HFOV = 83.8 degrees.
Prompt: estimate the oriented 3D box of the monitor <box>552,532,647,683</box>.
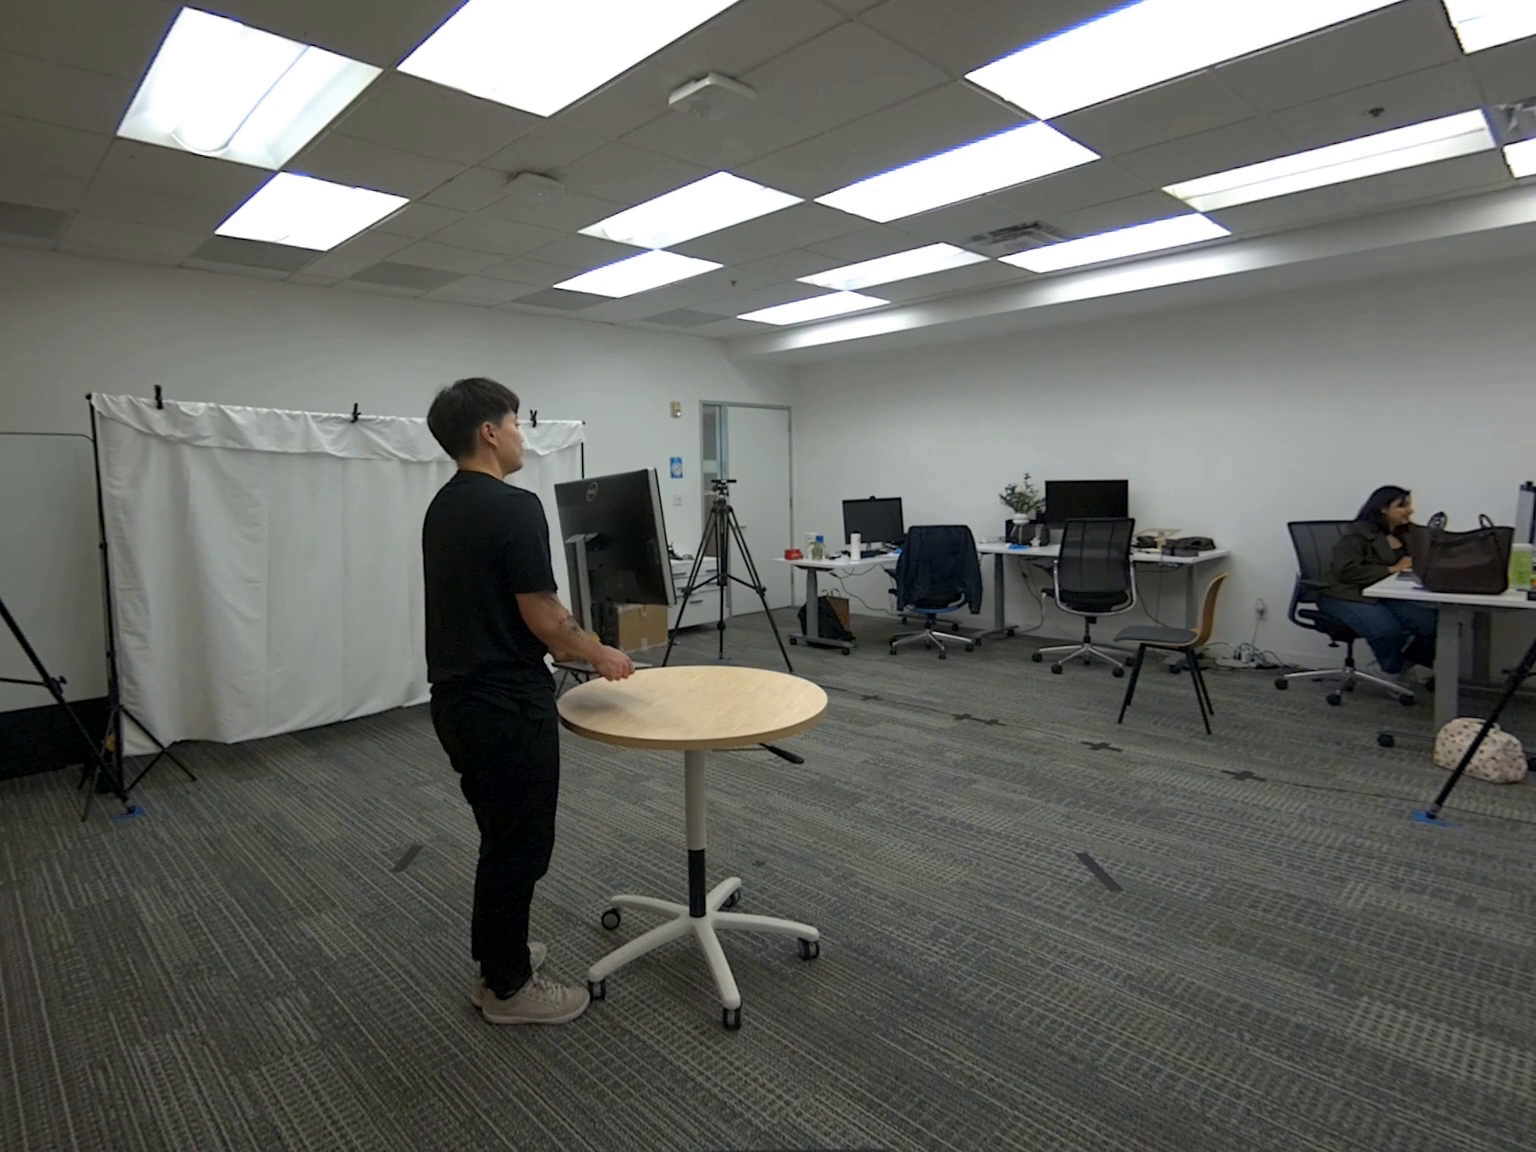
[{"bbox_3d":[-0.464,-0.016,2.403,0.181,0.524,0.554,5,-4,-40],"label":"monitor"}]
